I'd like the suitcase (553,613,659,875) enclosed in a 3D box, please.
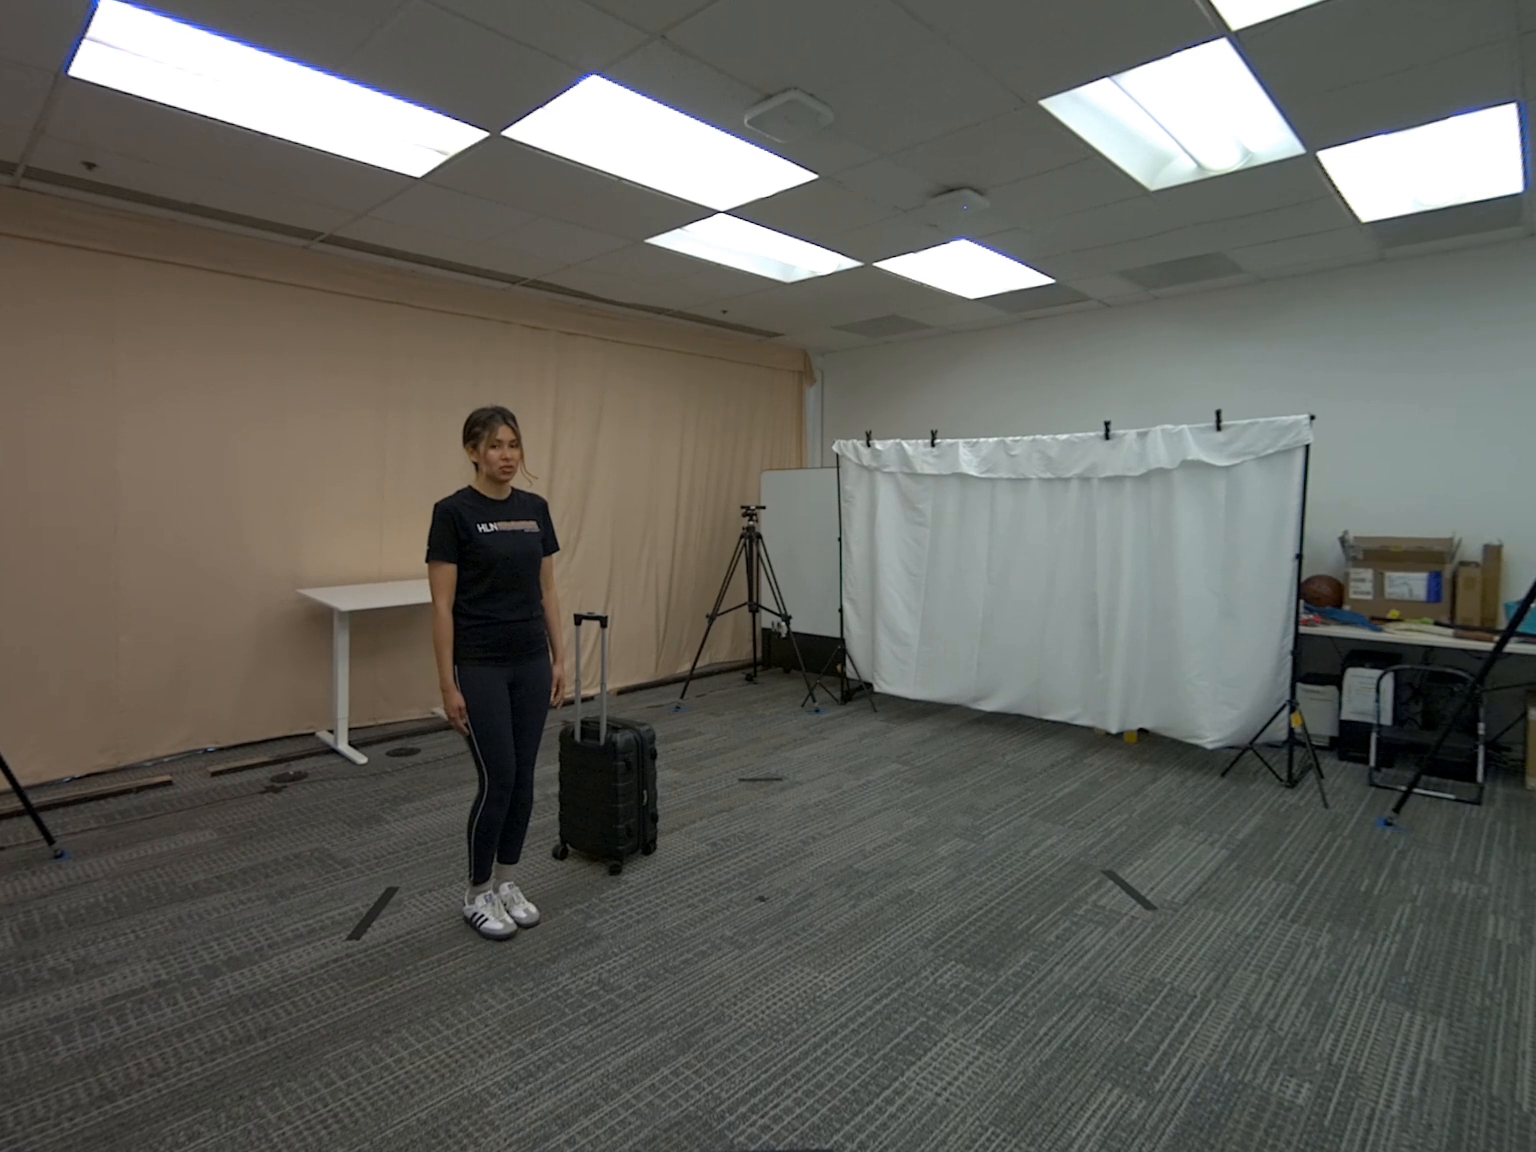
[{"bbox_3d":[-0.642,0.638,3.355,0.395,0.978,0.250,1,1,31],"label":"suitcase"}]
